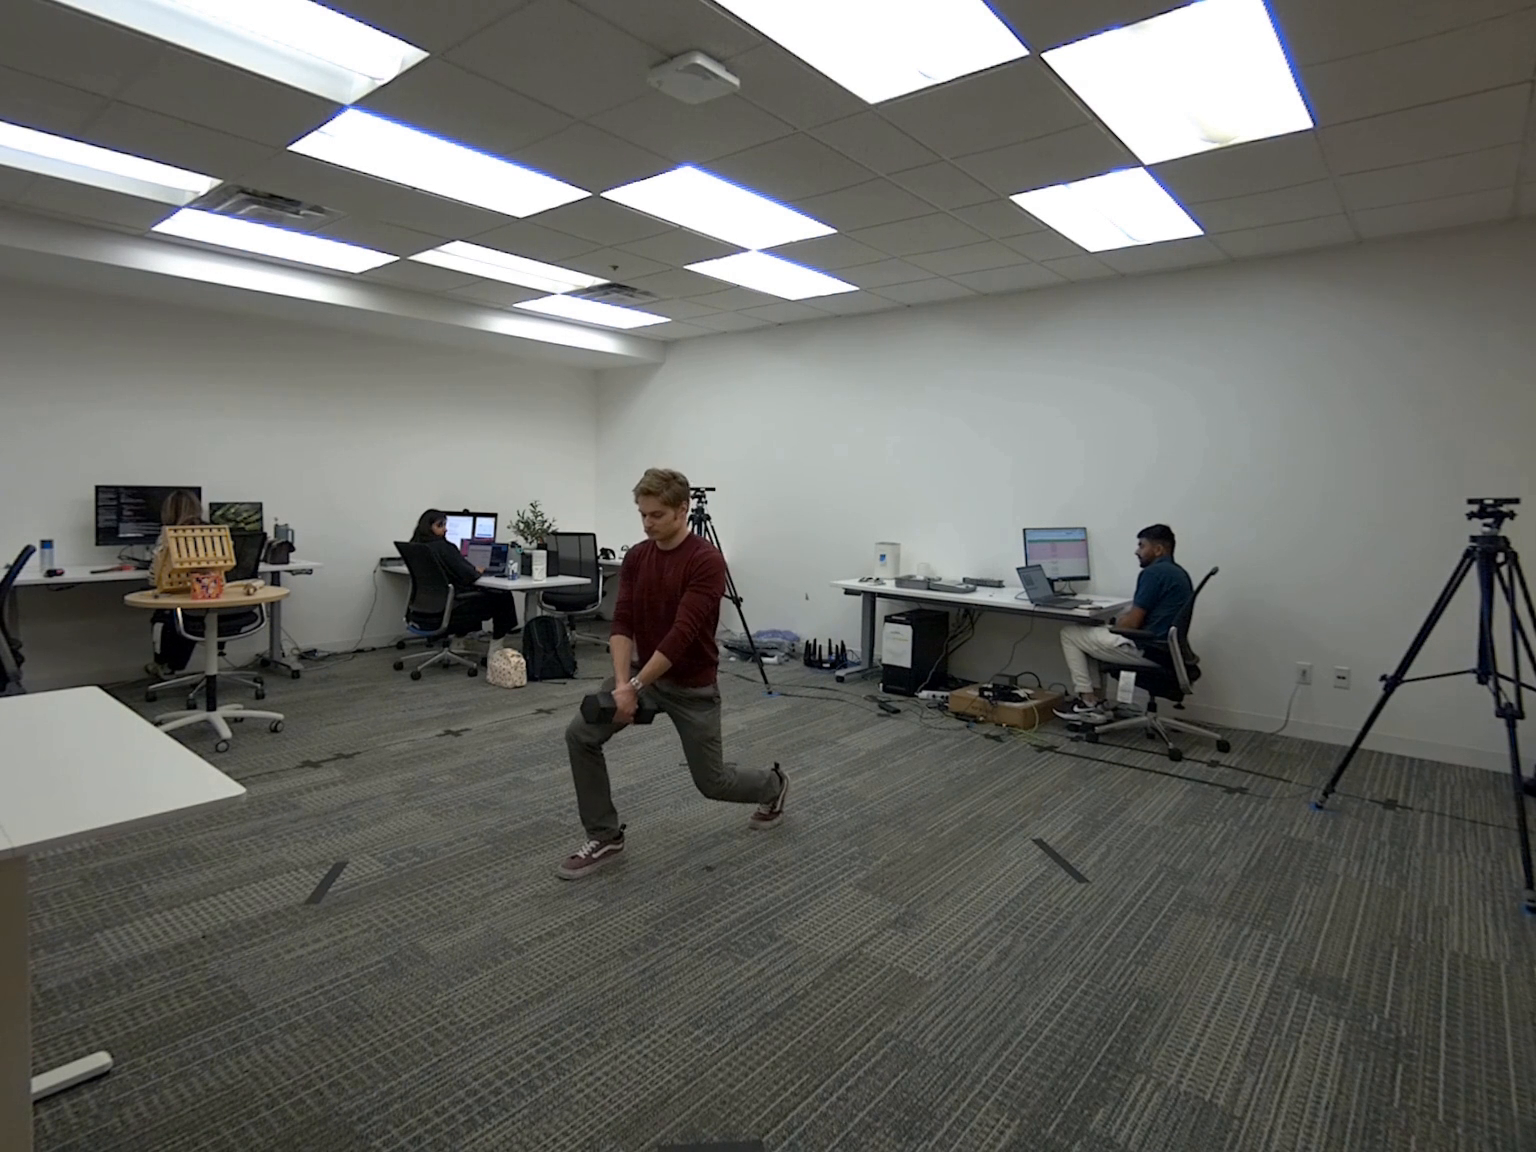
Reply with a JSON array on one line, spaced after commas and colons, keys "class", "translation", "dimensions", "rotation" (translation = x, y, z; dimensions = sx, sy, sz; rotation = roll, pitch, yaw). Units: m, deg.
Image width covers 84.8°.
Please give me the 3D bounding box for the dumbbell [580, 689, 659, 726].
[{"class": "dumbbell", "translation": [-0.529, 0.466, 3.004], "dimensions": [0.109, 0.127, 0.283], "rotation": [-42, -30, 22]}]
